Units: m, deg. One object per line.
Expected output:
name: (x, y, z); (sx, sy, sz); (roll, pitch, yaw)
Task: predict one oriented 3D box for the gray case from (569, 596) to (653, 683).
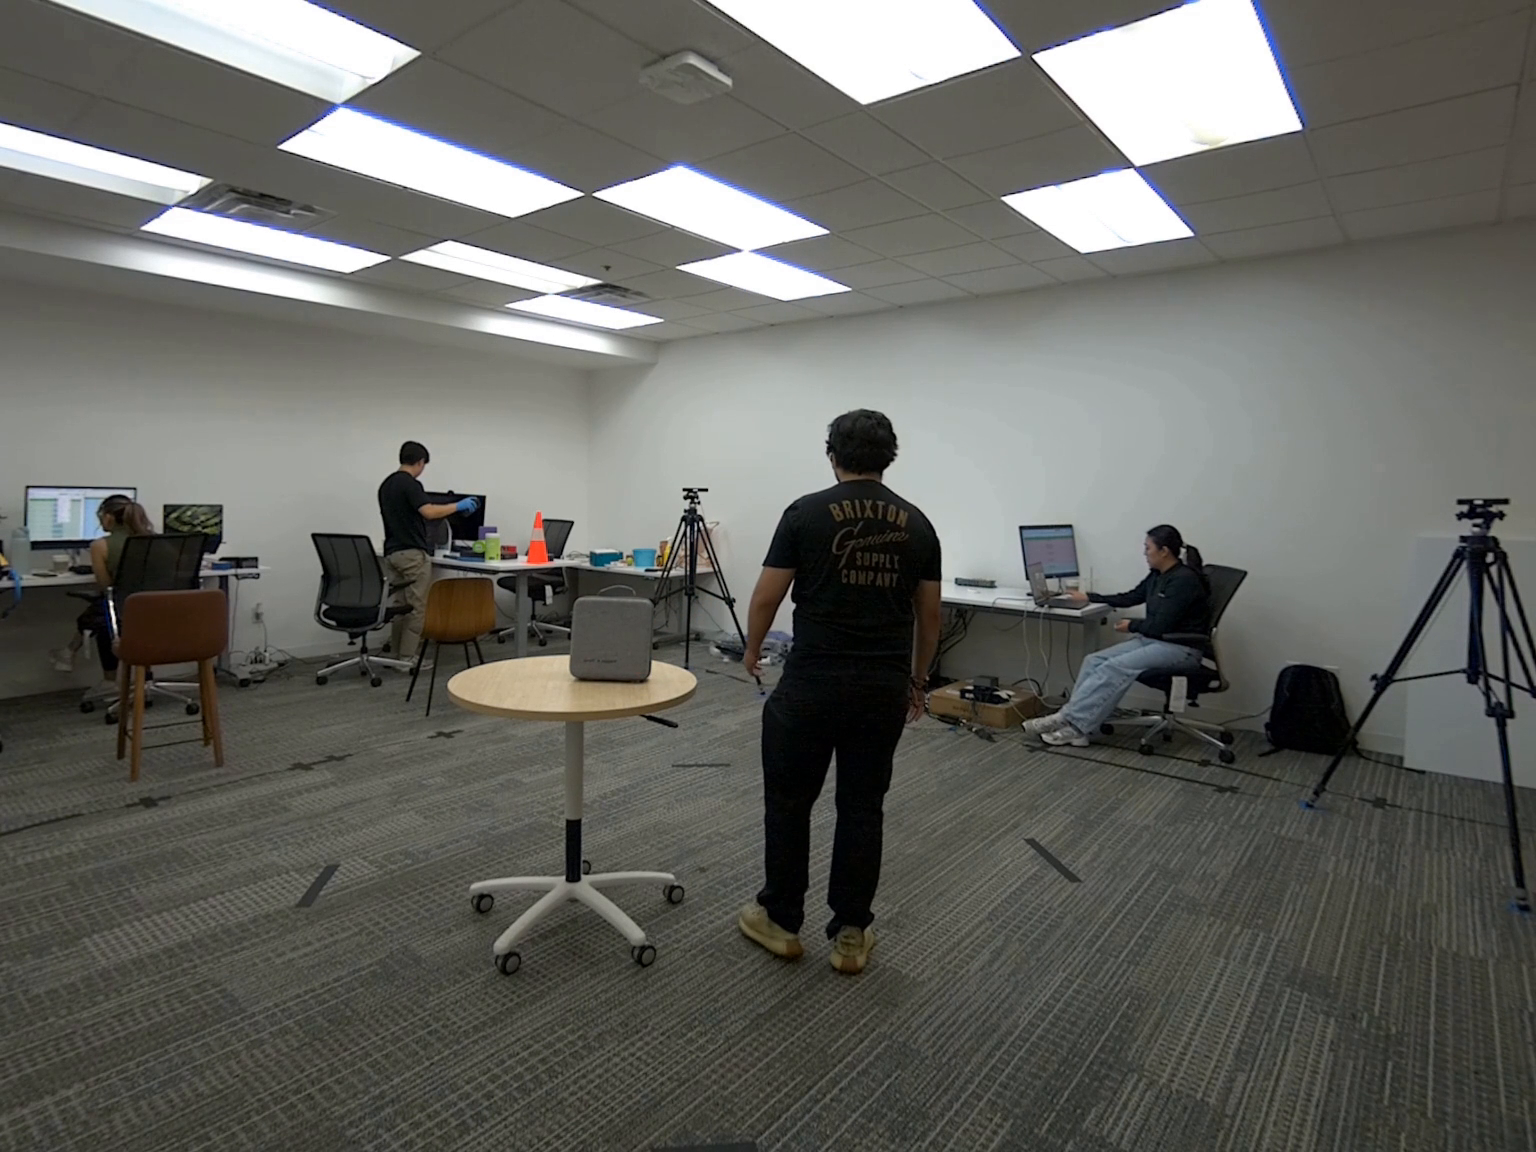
gray case: (-0.512, 0.187, 2.707); (0.257, 0.263, 0.103); (1, -8, 1)
